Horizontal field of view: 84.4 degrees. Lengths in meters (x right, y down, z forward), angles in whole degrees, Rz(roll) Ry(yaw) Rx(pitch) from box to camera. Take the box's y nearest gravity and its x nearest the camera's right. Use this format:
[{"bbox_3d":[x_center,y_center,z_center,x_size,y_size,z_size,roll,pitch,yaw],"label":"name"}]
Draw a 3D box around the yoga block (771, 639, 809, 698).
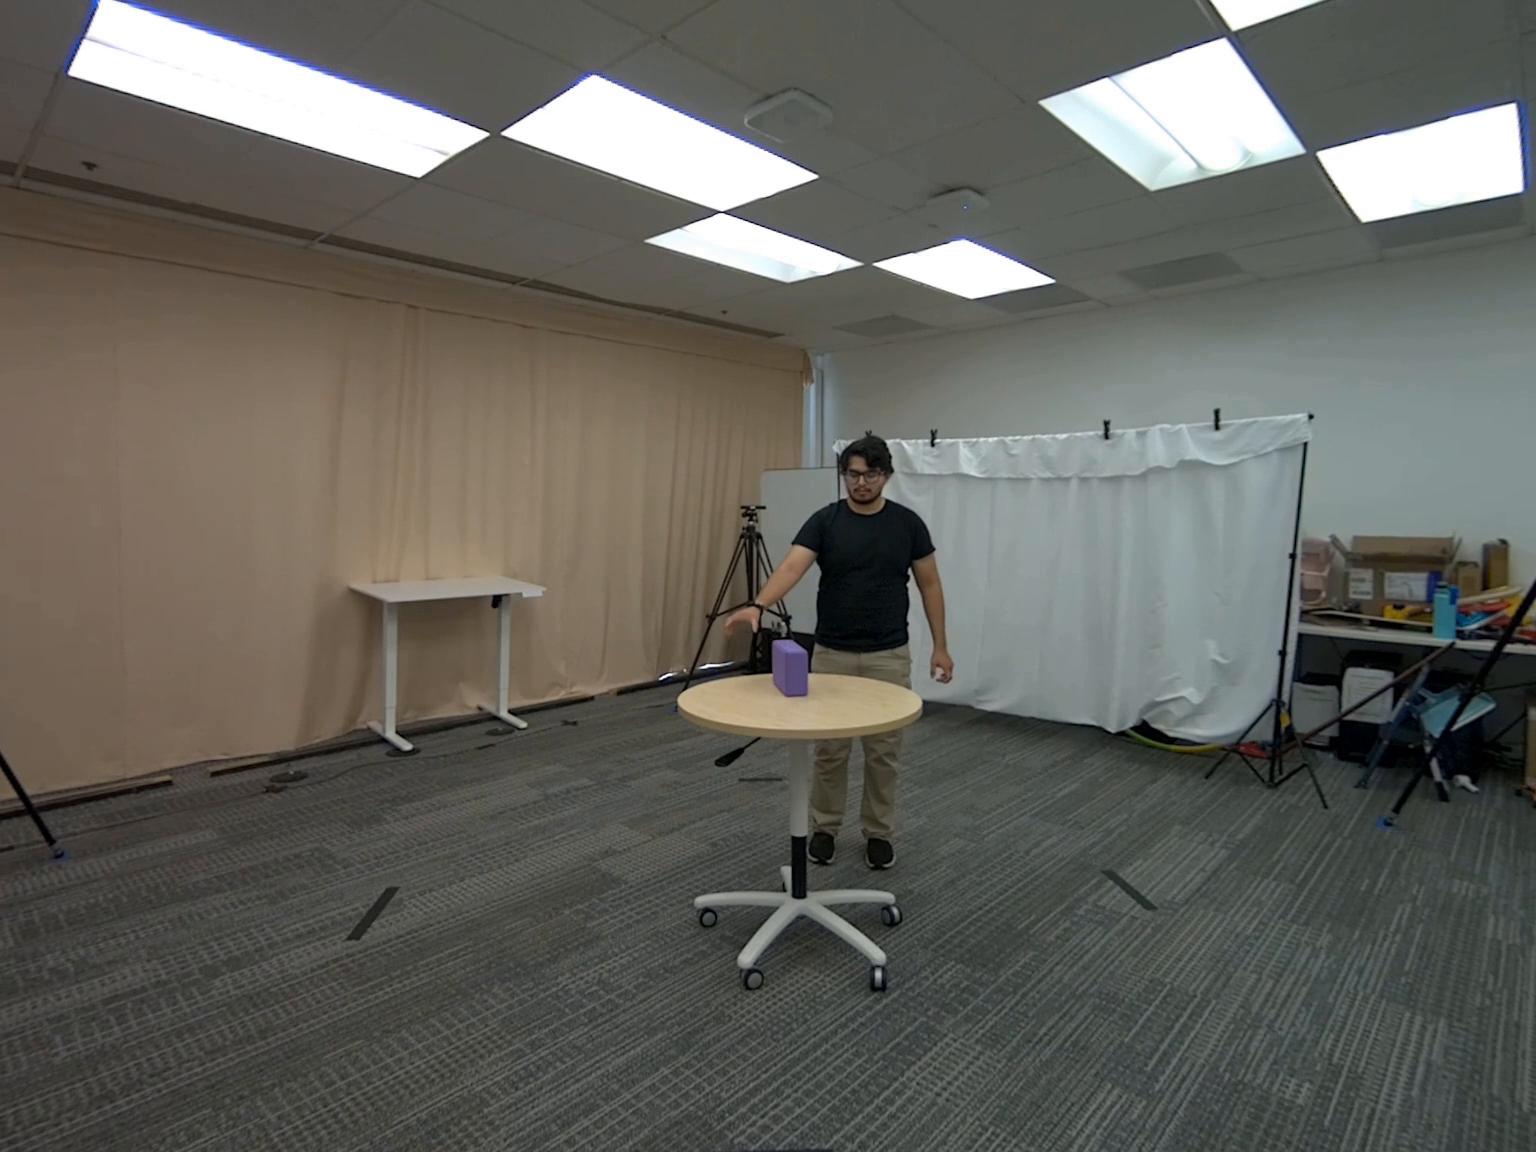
[{"bbox_3d":[0.081,0.302,2.780,0.076,0.148,0.231,-1,4,-7],"label":"yoga block"}]
